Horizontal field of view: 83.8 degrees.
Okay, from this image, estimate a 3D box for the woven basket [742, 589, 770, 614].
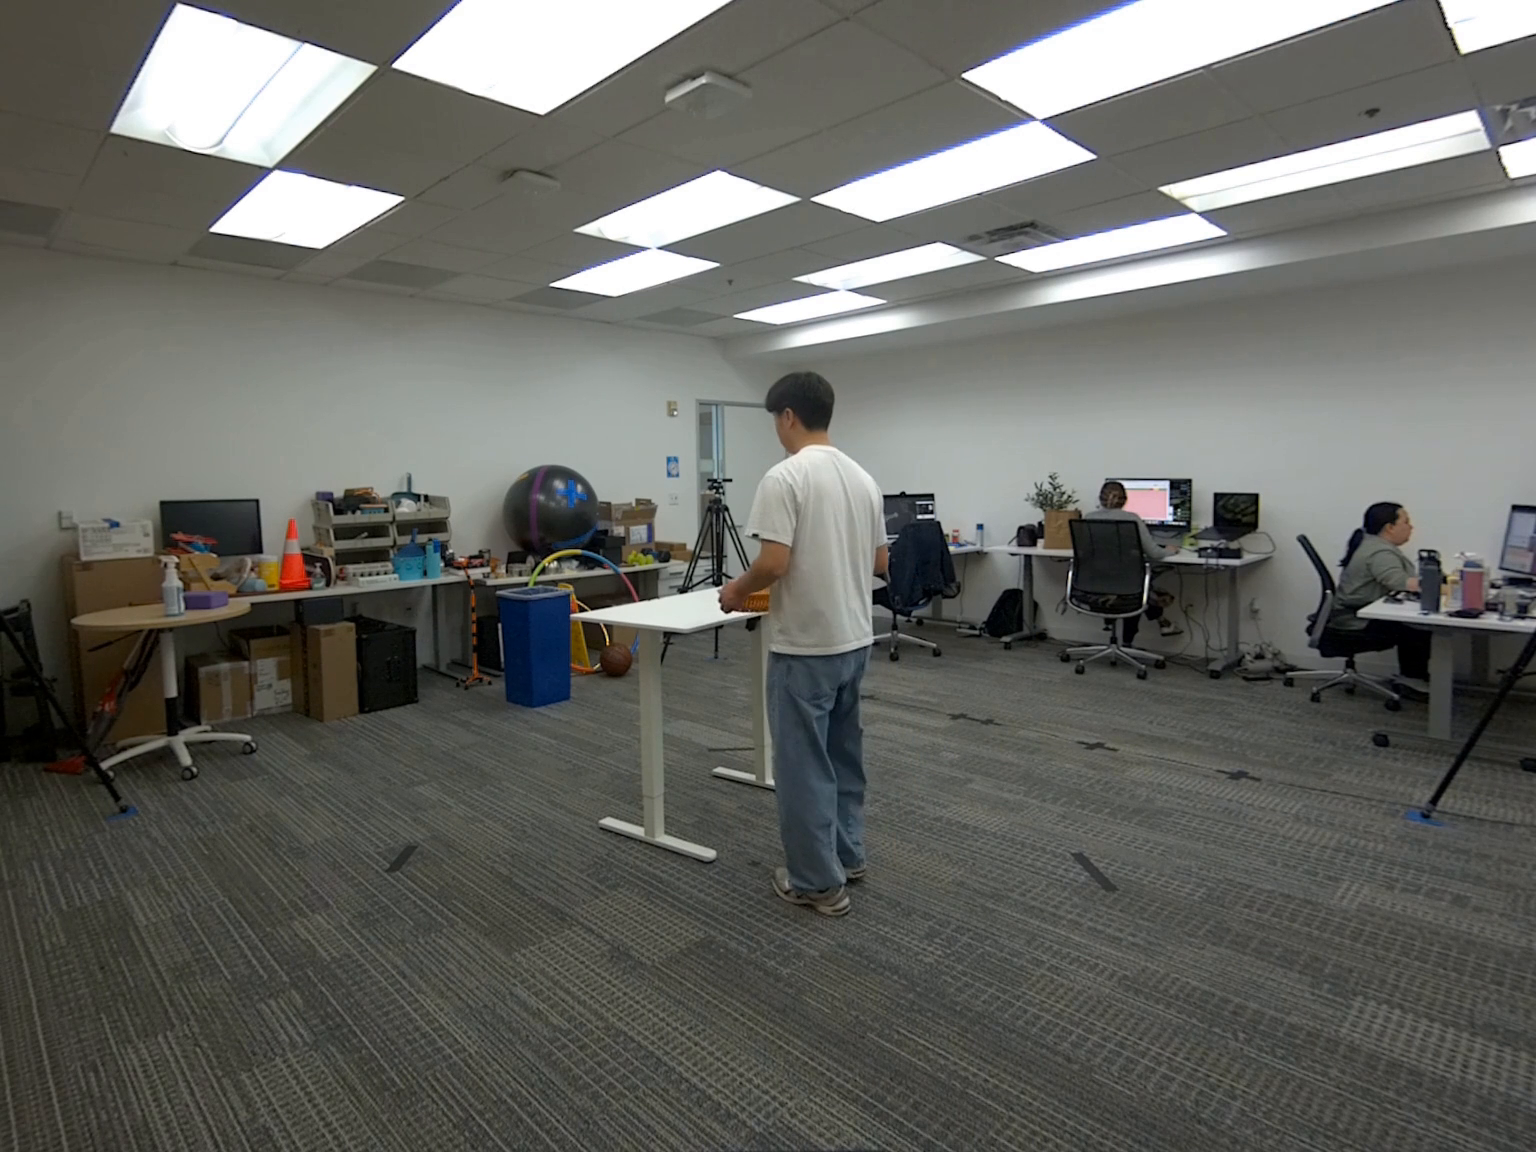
[{"bbox_3d":[0.013,0.079,3.021,0.341,0.073,0.259,-2,4,-34],"label":"woven basket"}]
